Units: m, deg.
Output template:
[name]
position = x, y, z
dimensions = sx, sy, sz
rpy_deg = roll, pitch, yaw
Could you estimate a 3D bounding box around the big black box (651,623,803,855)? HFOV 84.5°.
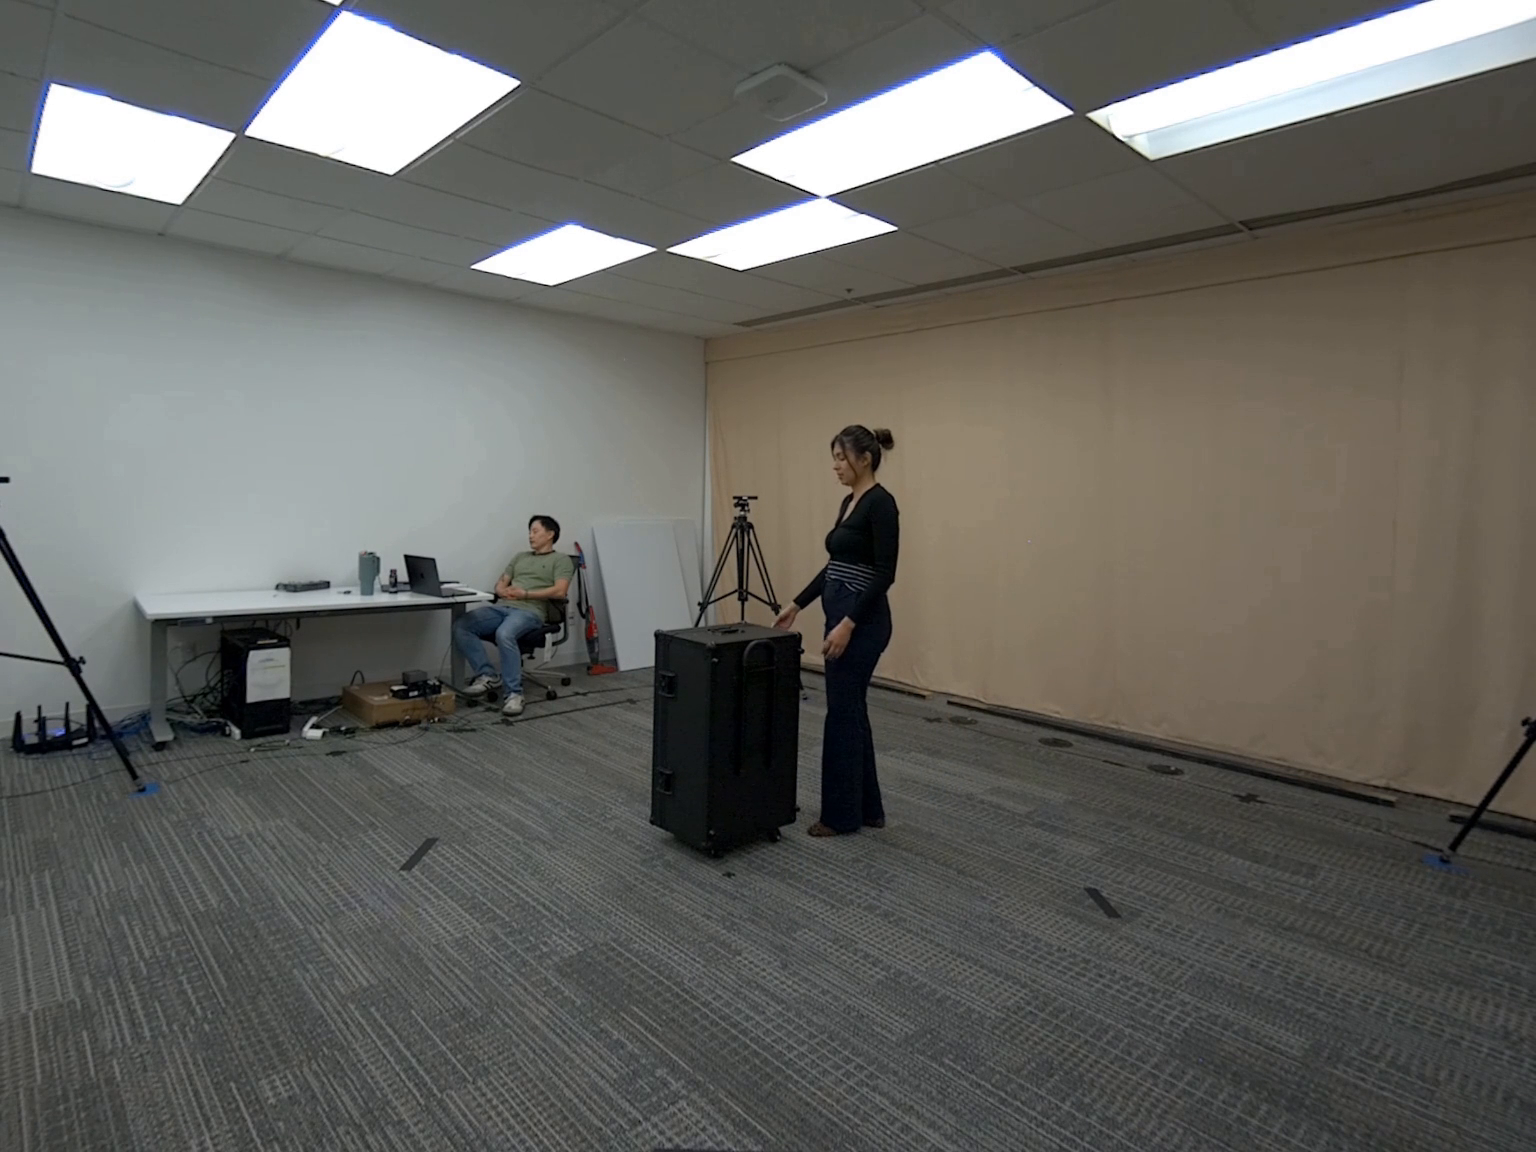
[big black box]
position = -0.171, 0.597, 3.382
dimensions = 0.509, 0.859, 0.406
rpy_deg = -1, 5, -42
